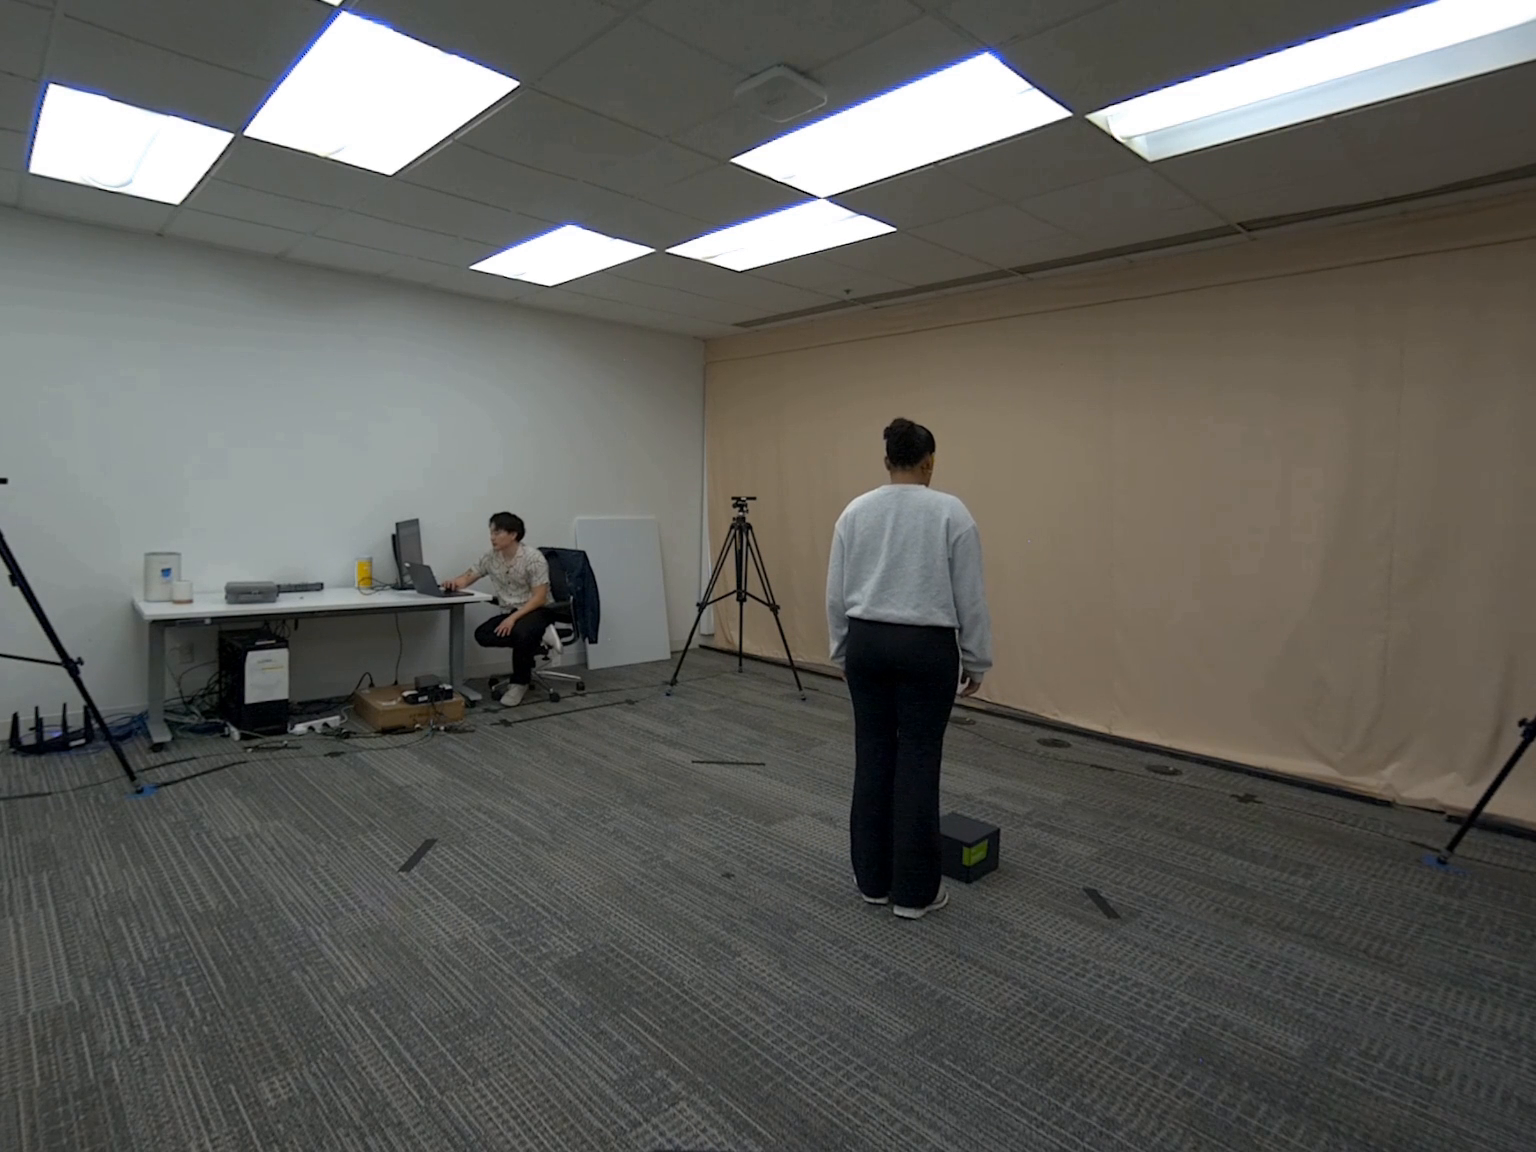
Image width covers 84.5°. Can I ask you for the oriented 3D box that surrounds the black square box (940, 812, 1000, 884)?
[{"bbox_3d":[0.726,1.034,3.228,0.222,0.155,0.223,6,6,43],"label":"black square box"}]
